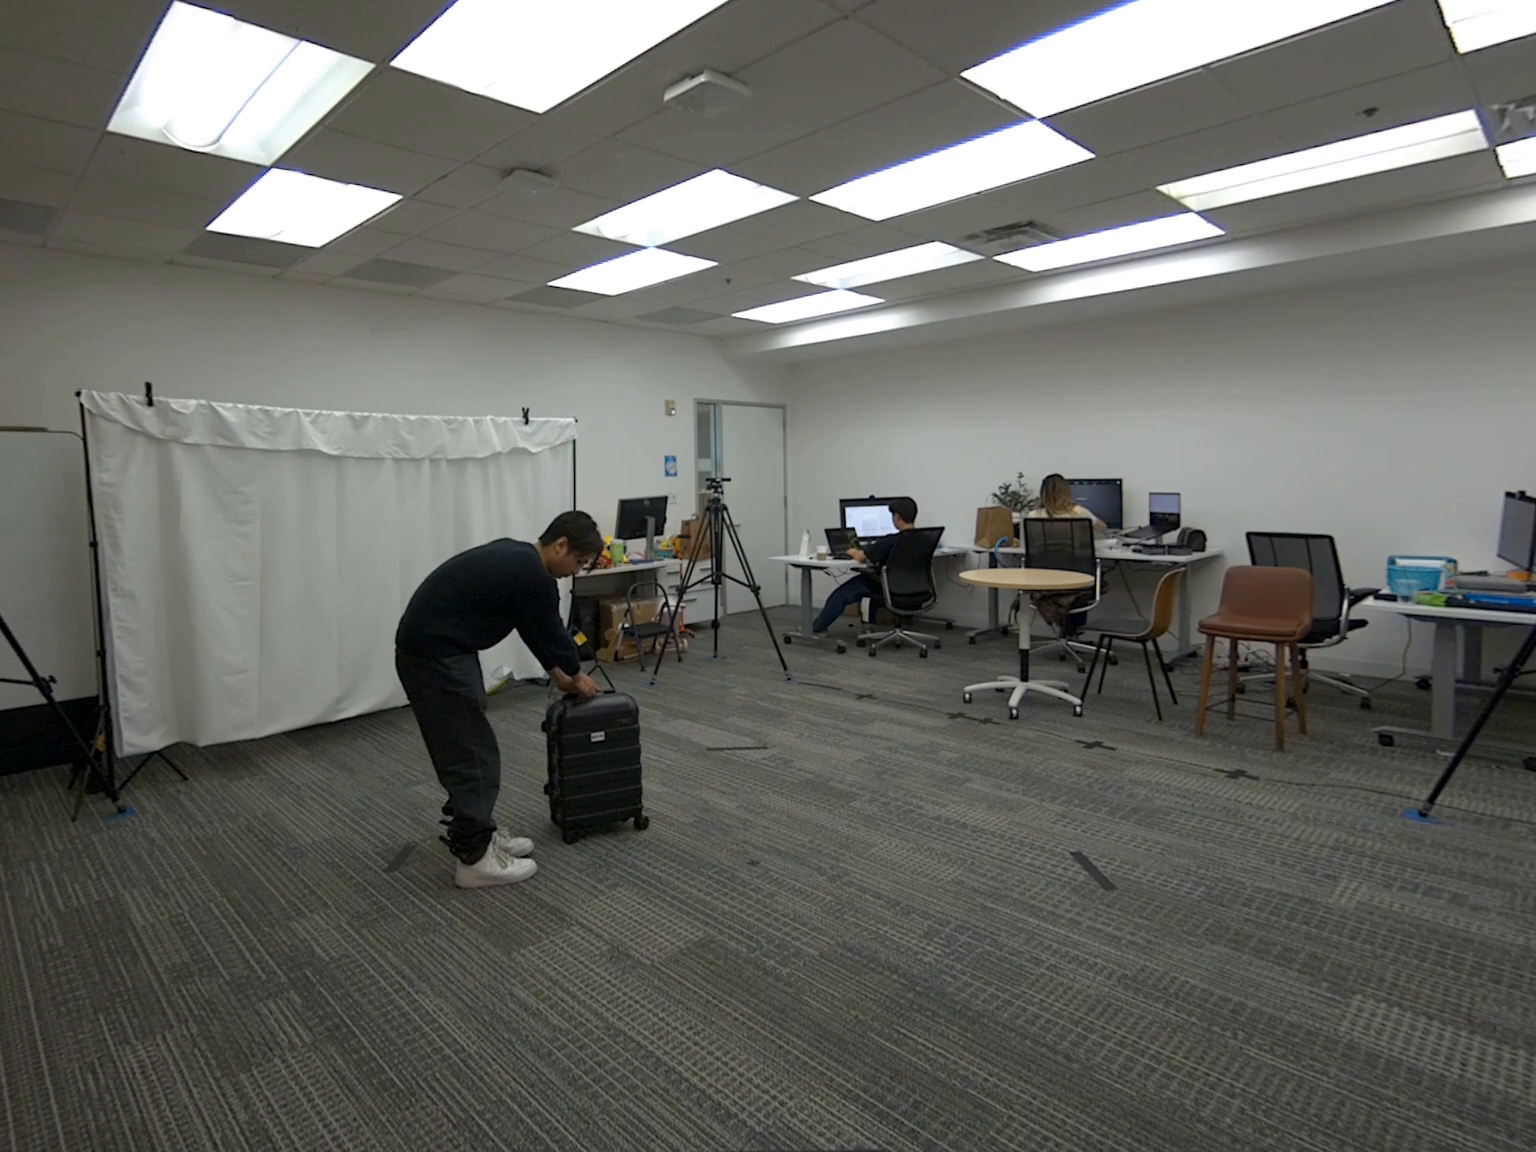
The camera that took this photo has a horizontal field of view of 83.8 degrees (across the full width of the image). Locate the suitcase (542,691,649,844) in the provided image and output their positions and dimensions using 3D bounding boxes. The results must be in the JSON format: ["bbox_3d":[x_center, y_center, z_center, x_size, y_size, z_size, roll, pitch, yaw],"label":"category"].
[{"bbox_3d":[-0.695,0.740,3.441,0.368,0.546,0.254,-4,6,-24],"label":"suitcase"}]
